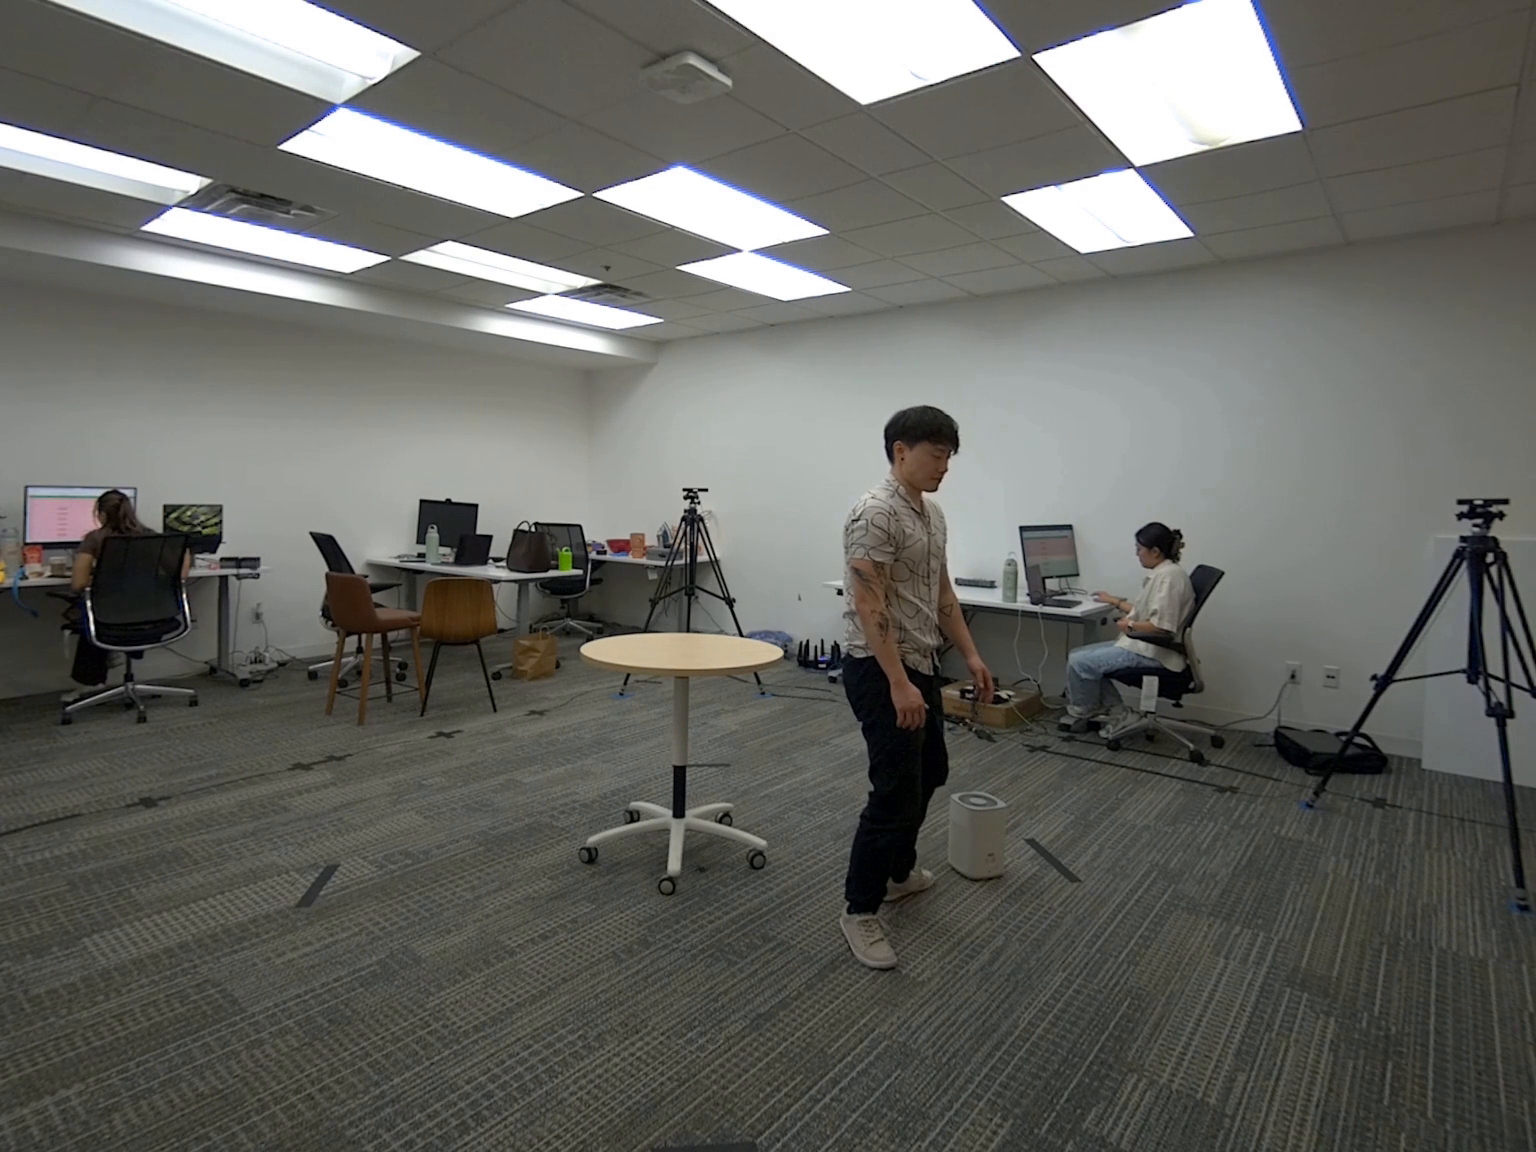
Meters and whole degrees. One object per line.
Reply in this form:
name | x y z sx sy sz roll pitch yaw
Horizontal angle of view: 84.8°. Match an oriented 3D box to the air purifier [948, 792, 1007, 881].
air purifier | 0.766 0.958 3.149 0.167 0.264 0.176 0 4 -24
